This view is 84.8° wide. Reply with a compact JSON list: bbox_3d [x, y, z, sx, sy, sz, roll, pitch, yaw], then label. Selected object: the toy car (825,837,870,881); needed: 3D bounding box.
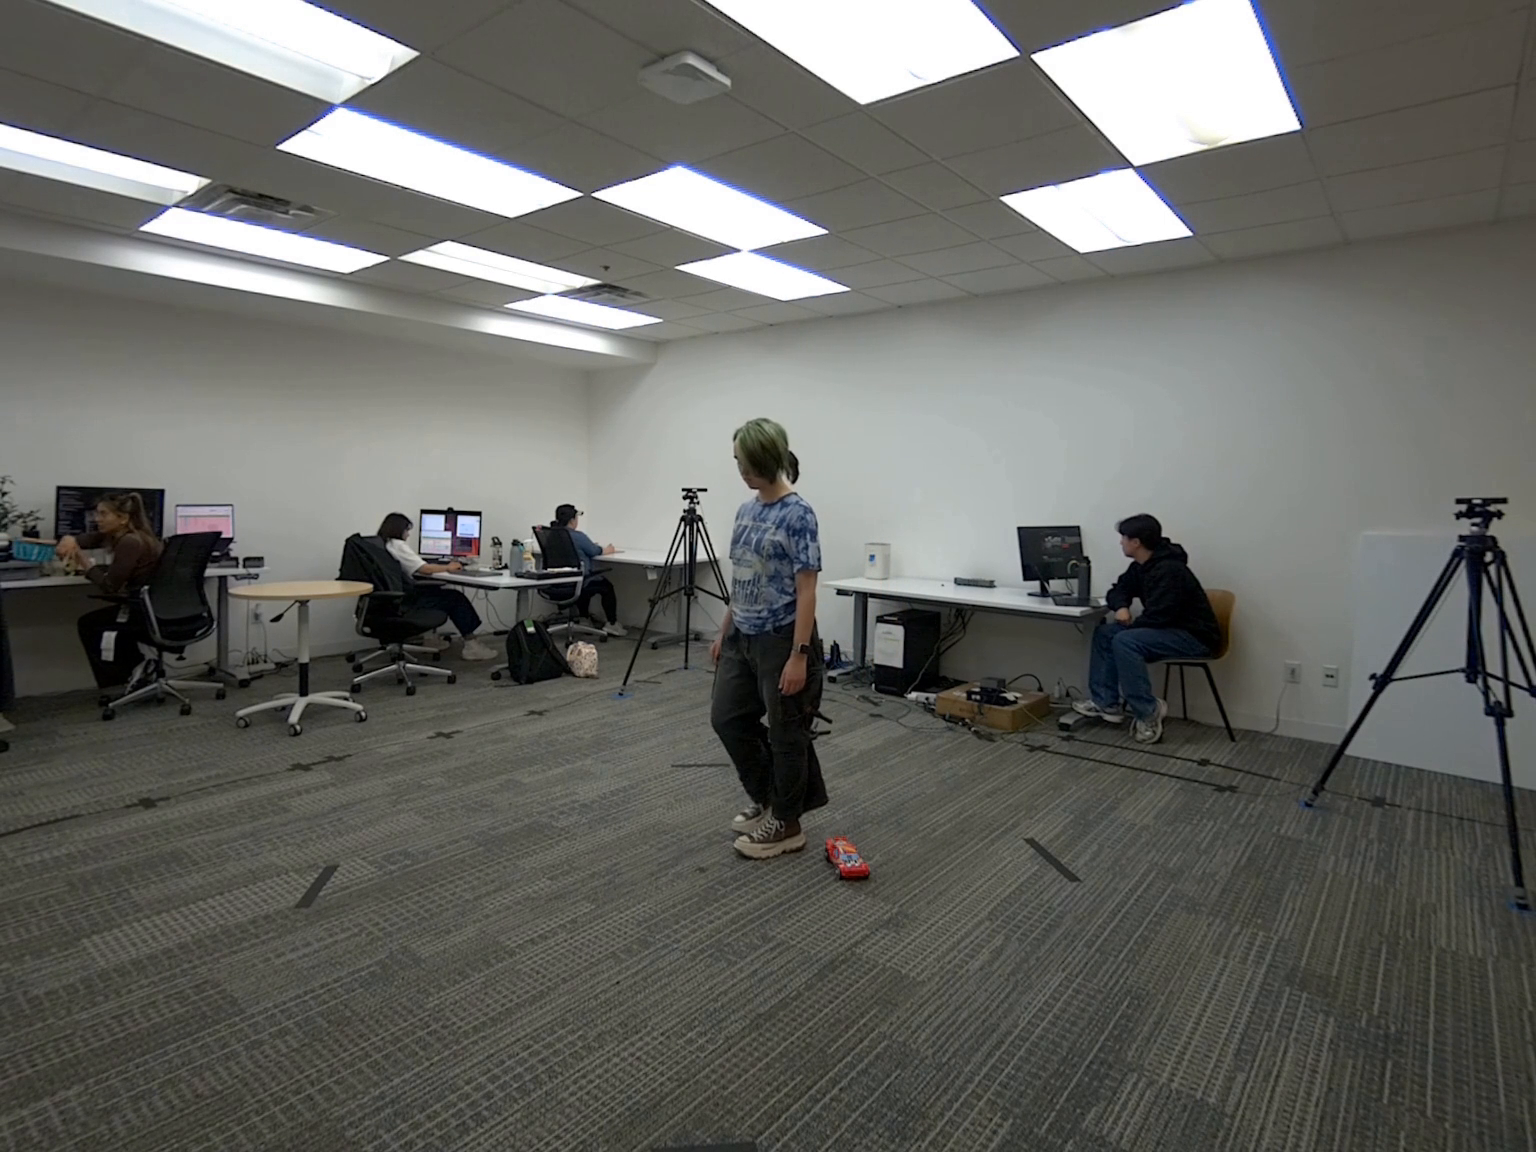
[{"bbox_3d":[0.283,1.045,3.158,0.129,0.082,0.261,-1,17,-10],"label":"toy car"}]
